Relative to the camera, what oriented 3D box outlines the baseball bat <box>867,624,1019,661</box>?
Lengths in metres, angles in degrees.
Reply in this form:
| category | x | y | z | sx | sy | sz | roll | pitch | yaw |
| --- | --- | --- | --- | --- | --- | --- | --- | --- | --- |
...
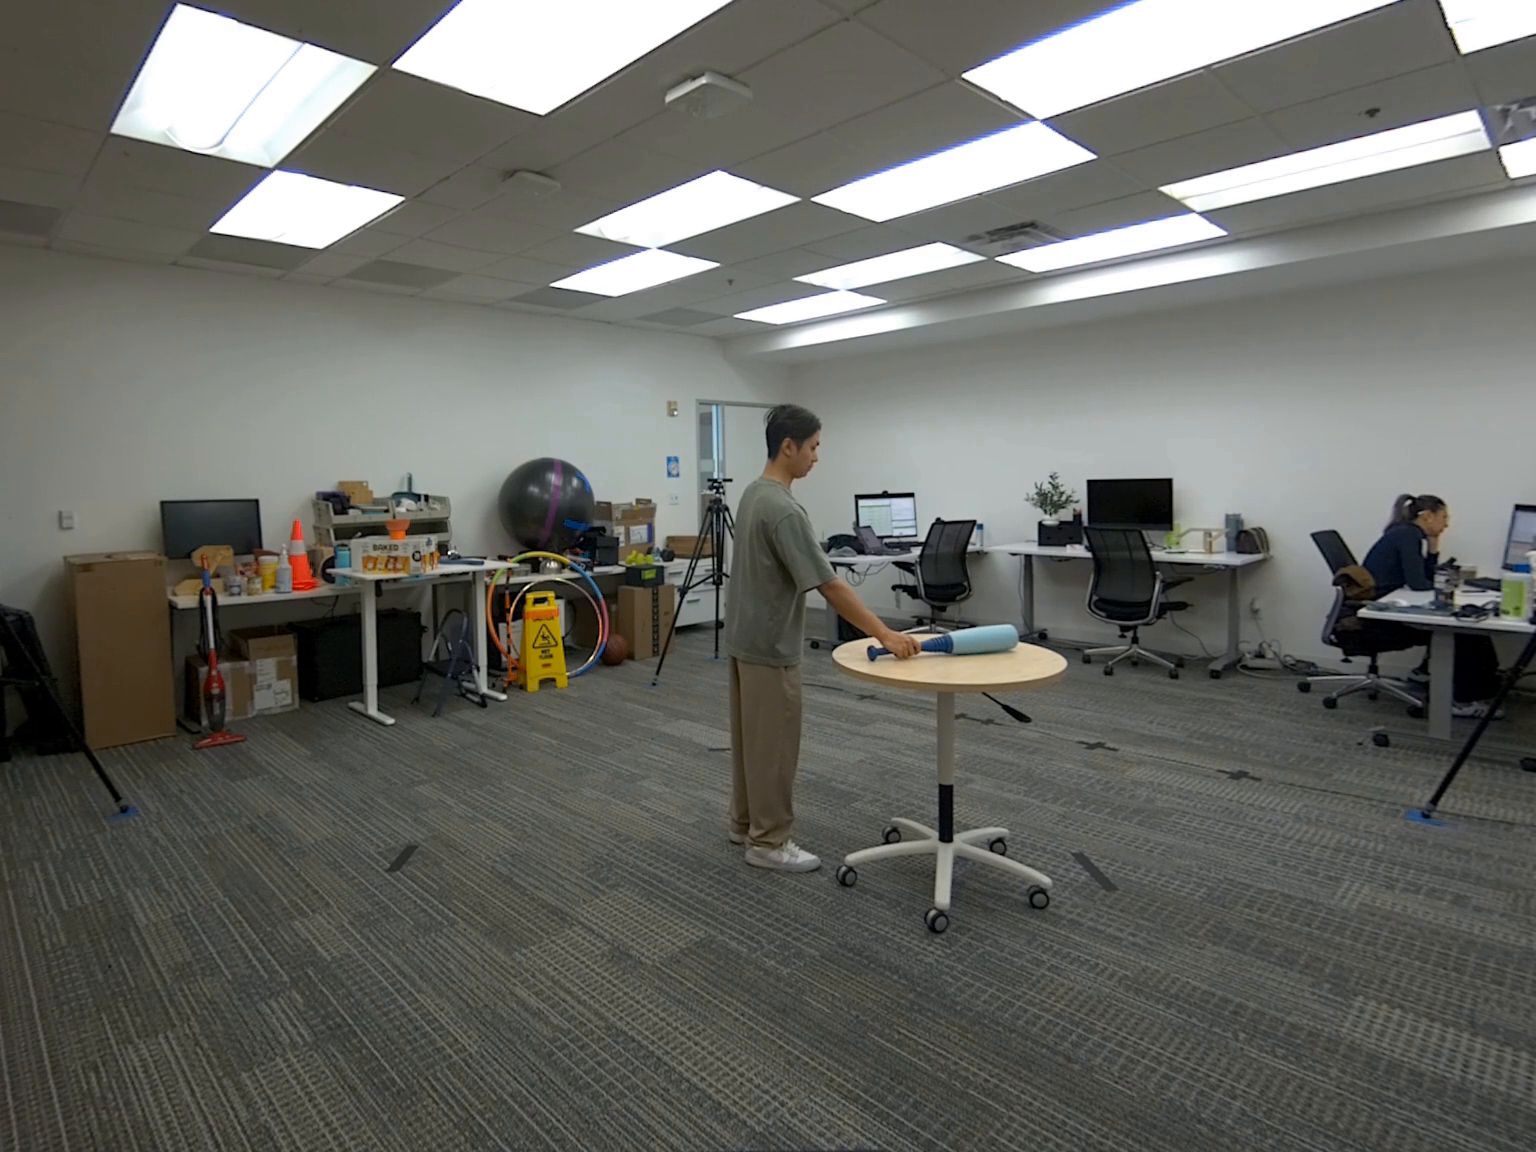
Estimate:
| category | x | y | z | sx | sy | sz | roll | pitch | yaw |
| --- | --- | --- | --- | --- | --- | --- | --- | --- | --- |
| baseball bat | 0.595 | 0.234 | 2.902 | 0.536 | 0.088 | 0.090 | -6 | 6 | -14 |
